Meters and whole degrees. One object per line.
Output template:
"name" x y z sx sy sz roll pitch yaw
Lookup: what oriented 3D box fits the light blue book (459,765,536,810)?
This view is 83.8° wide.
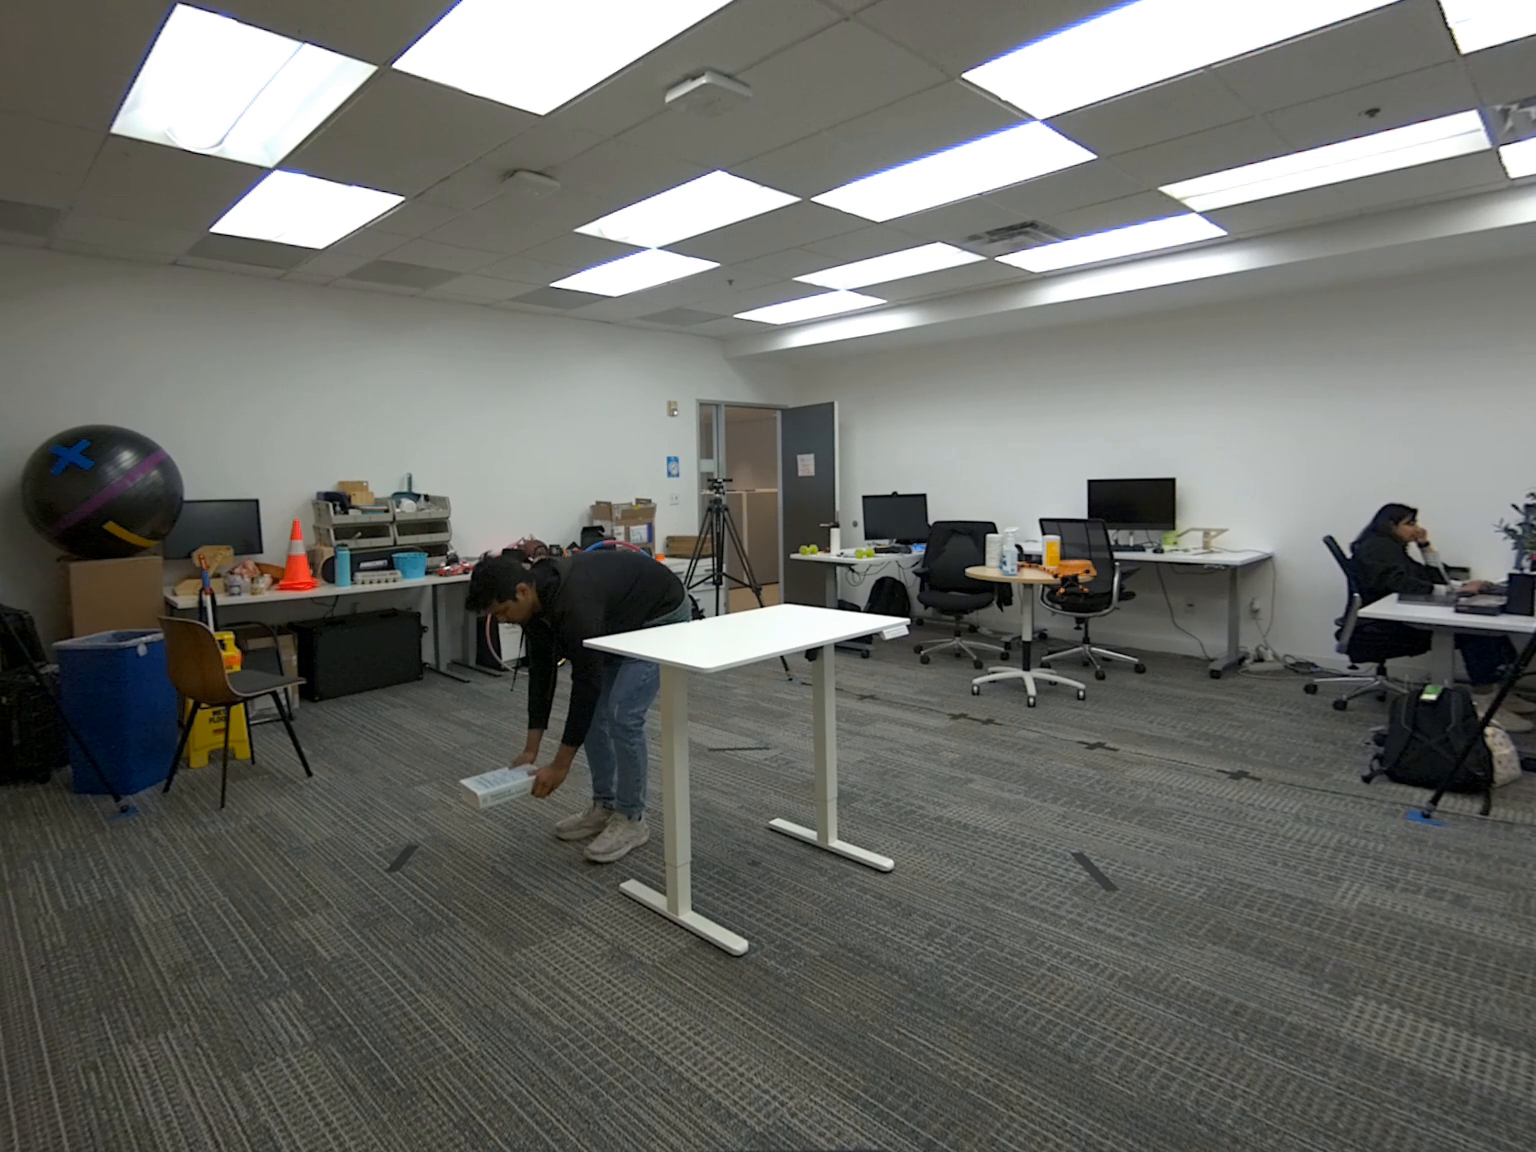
"light blue book" -0.944 0.741 3.070 0.254 0.059 0.197 -8 7 -38
